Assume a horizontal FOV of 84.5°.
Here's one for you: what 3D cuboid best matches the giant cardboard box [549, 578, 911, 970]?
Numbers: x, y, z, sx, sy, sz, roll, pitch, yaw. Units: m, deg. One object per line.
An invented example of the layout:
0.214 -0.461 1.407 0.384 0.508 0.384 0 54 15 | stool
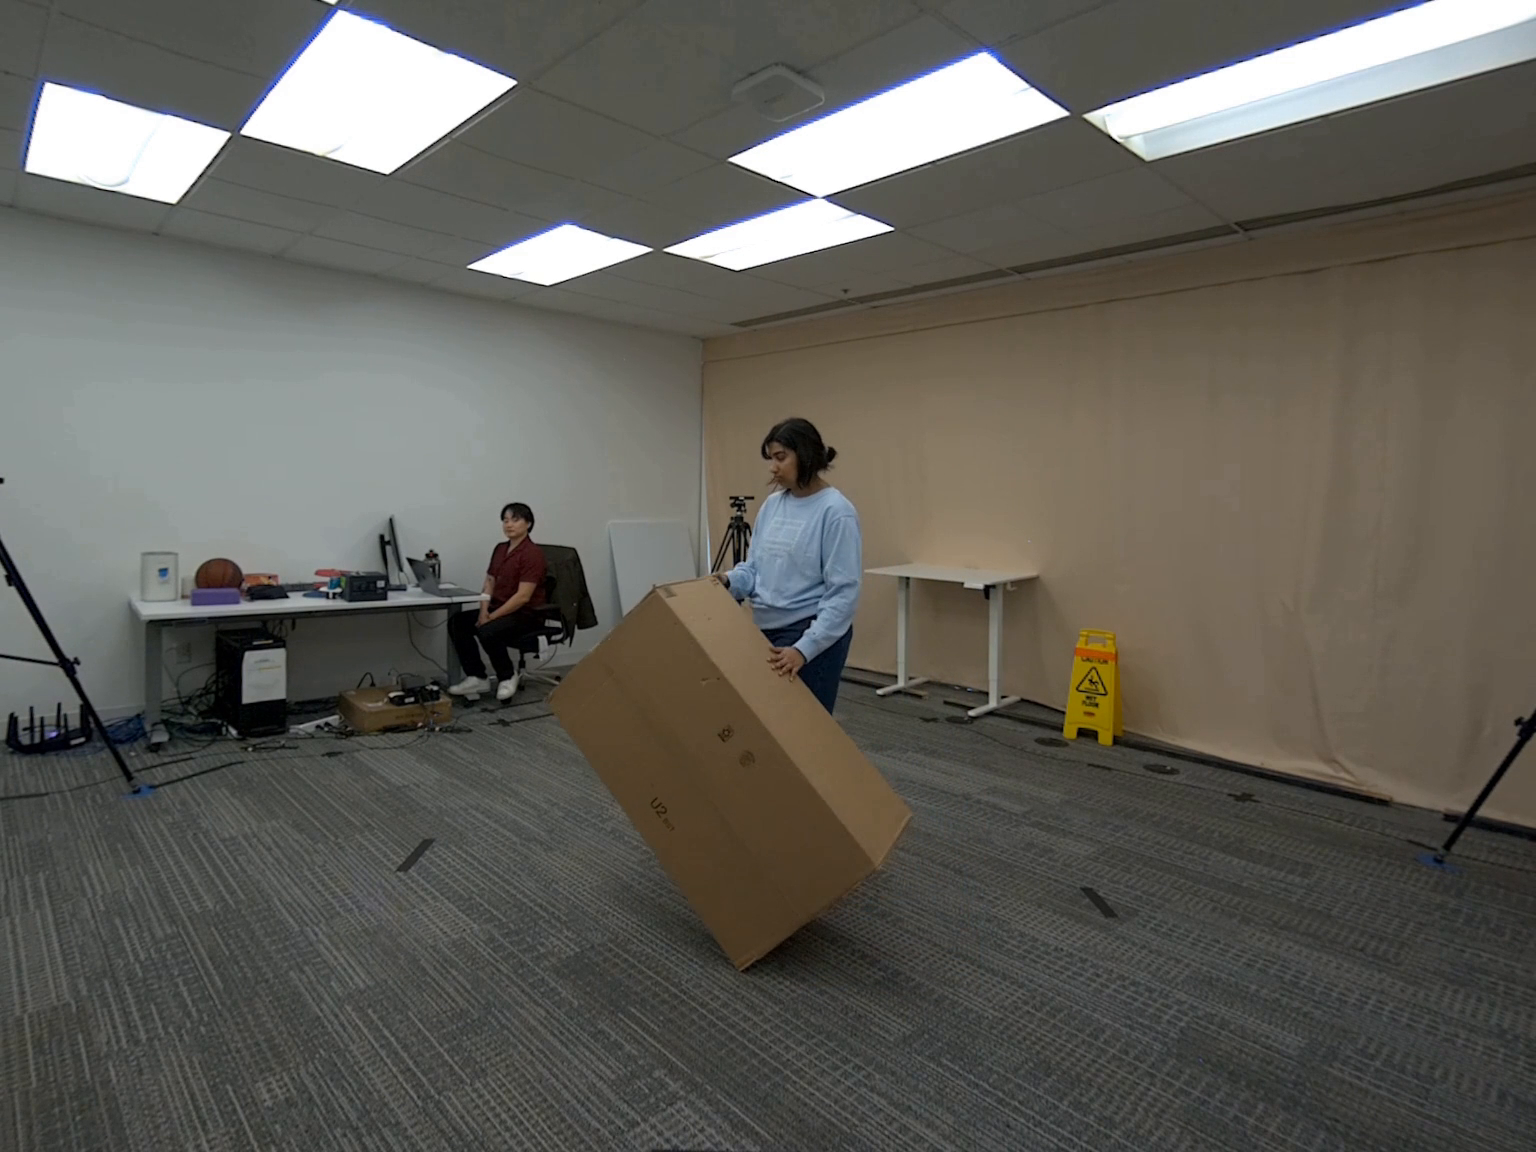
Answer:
-0.144 0.585 2.689 0.584 1.044 0.439 -45 -16 20 | giant cardboard box
